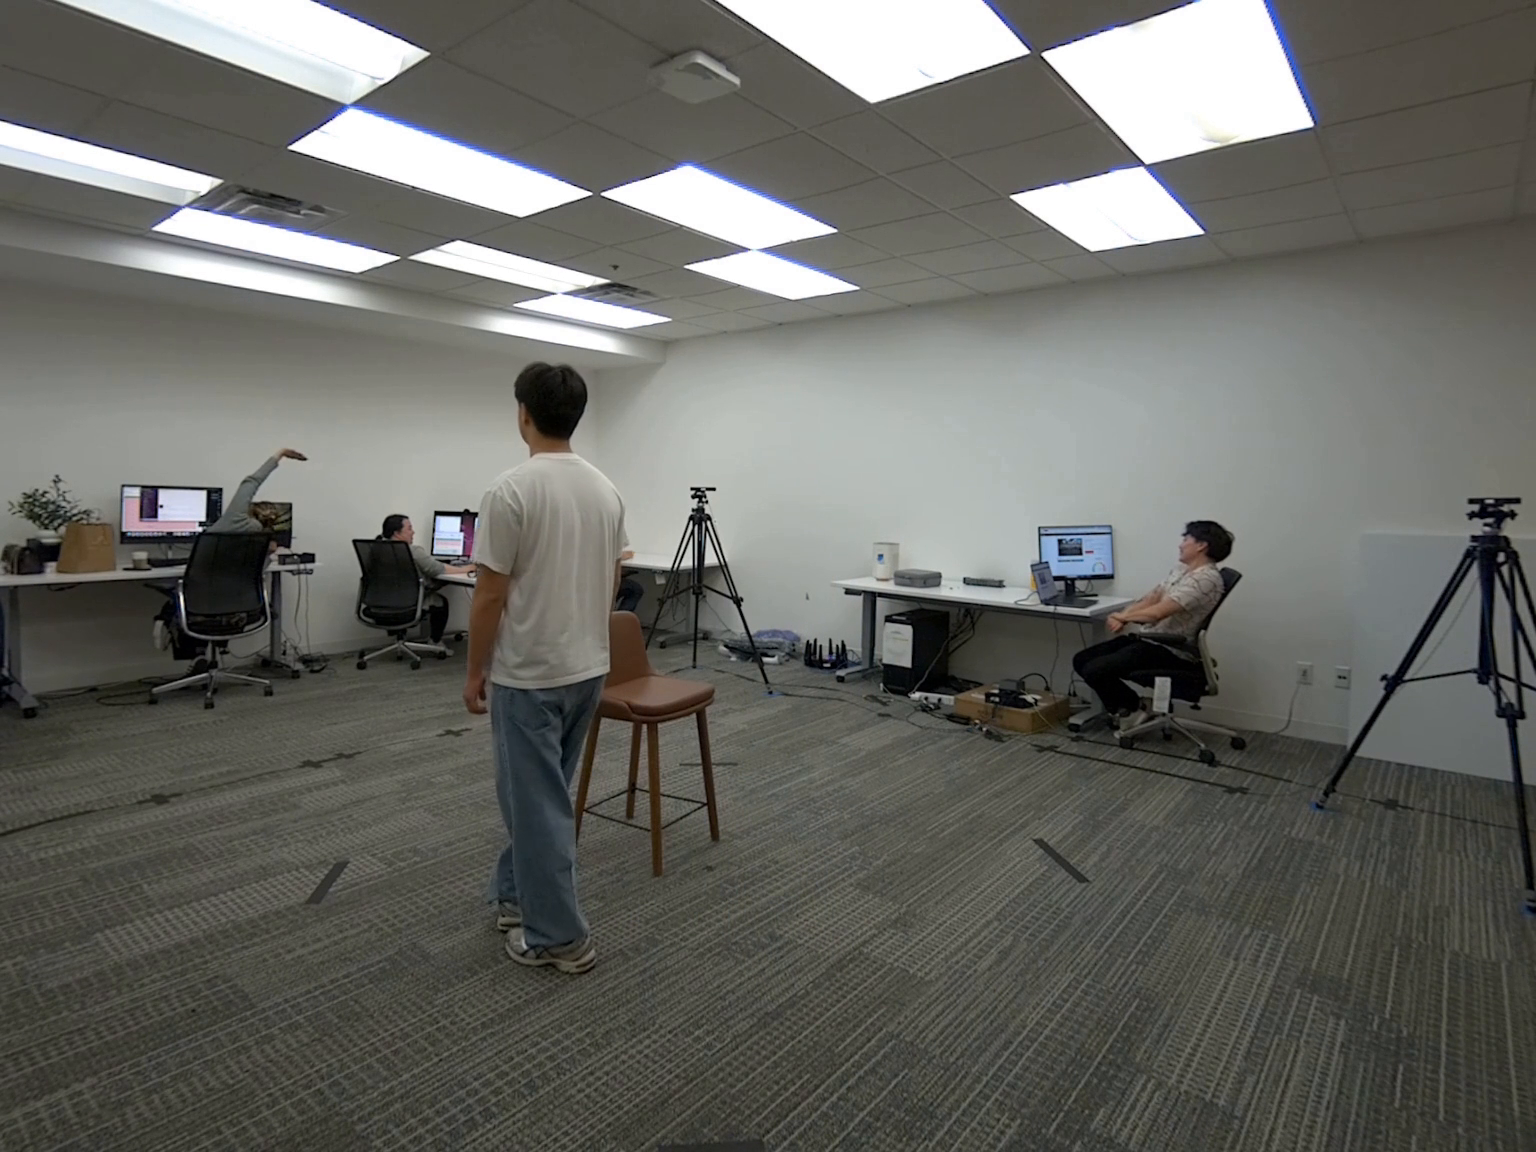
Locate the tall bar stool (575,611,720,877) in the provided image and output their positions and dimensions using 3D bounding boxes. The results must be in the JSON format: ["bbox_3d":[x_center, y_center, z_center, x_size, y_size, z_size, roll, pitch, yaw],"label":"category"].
[{"bbox_3d":[-0.489,0.606,3.309,0.481,0.889,0.444,0,2,32],"label":"tall bar stool"}]
